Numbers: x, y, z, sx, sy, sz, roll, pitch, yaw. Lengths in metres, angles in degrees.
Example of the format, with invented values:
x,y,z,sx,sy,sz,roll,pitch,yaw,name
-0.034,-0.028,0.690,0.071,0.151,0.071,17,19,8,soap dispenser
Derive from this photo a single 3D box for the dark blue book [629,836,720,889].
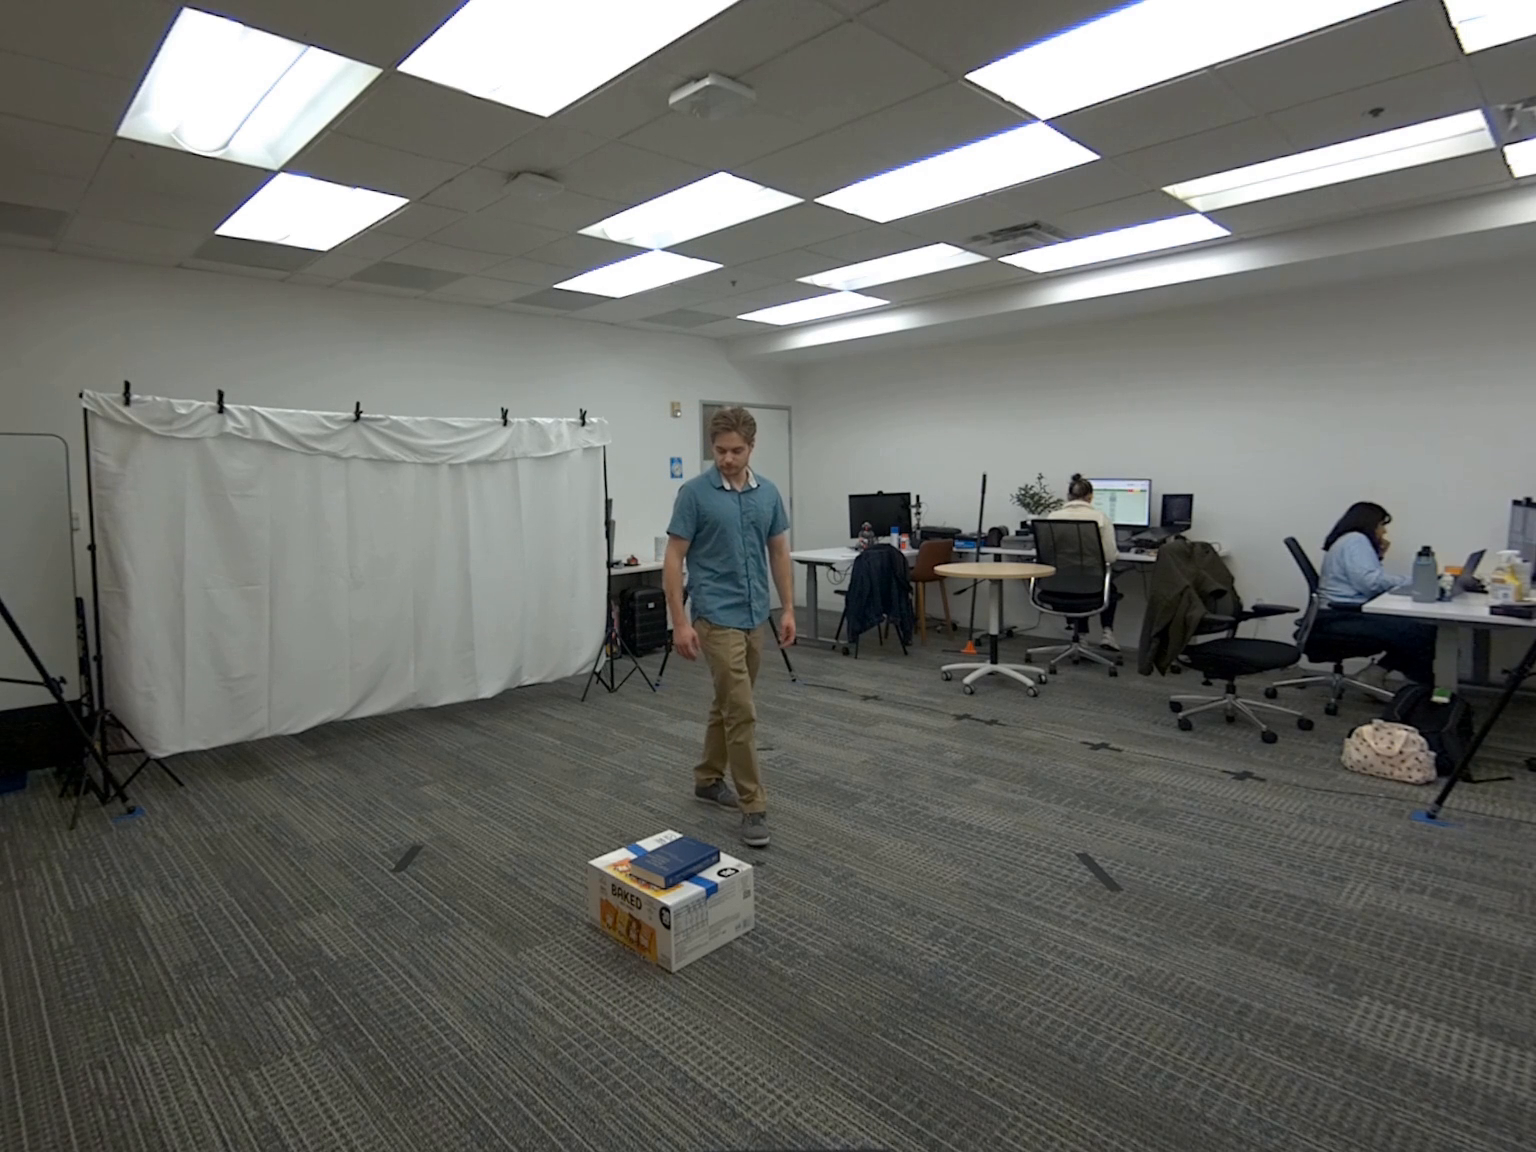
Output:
x,y,z,sx,sy,sz,roll,pitch,yaw,name
-0.284,0.890,2.650,0.168,0.045,0.239,4,9,40,dark blue book
